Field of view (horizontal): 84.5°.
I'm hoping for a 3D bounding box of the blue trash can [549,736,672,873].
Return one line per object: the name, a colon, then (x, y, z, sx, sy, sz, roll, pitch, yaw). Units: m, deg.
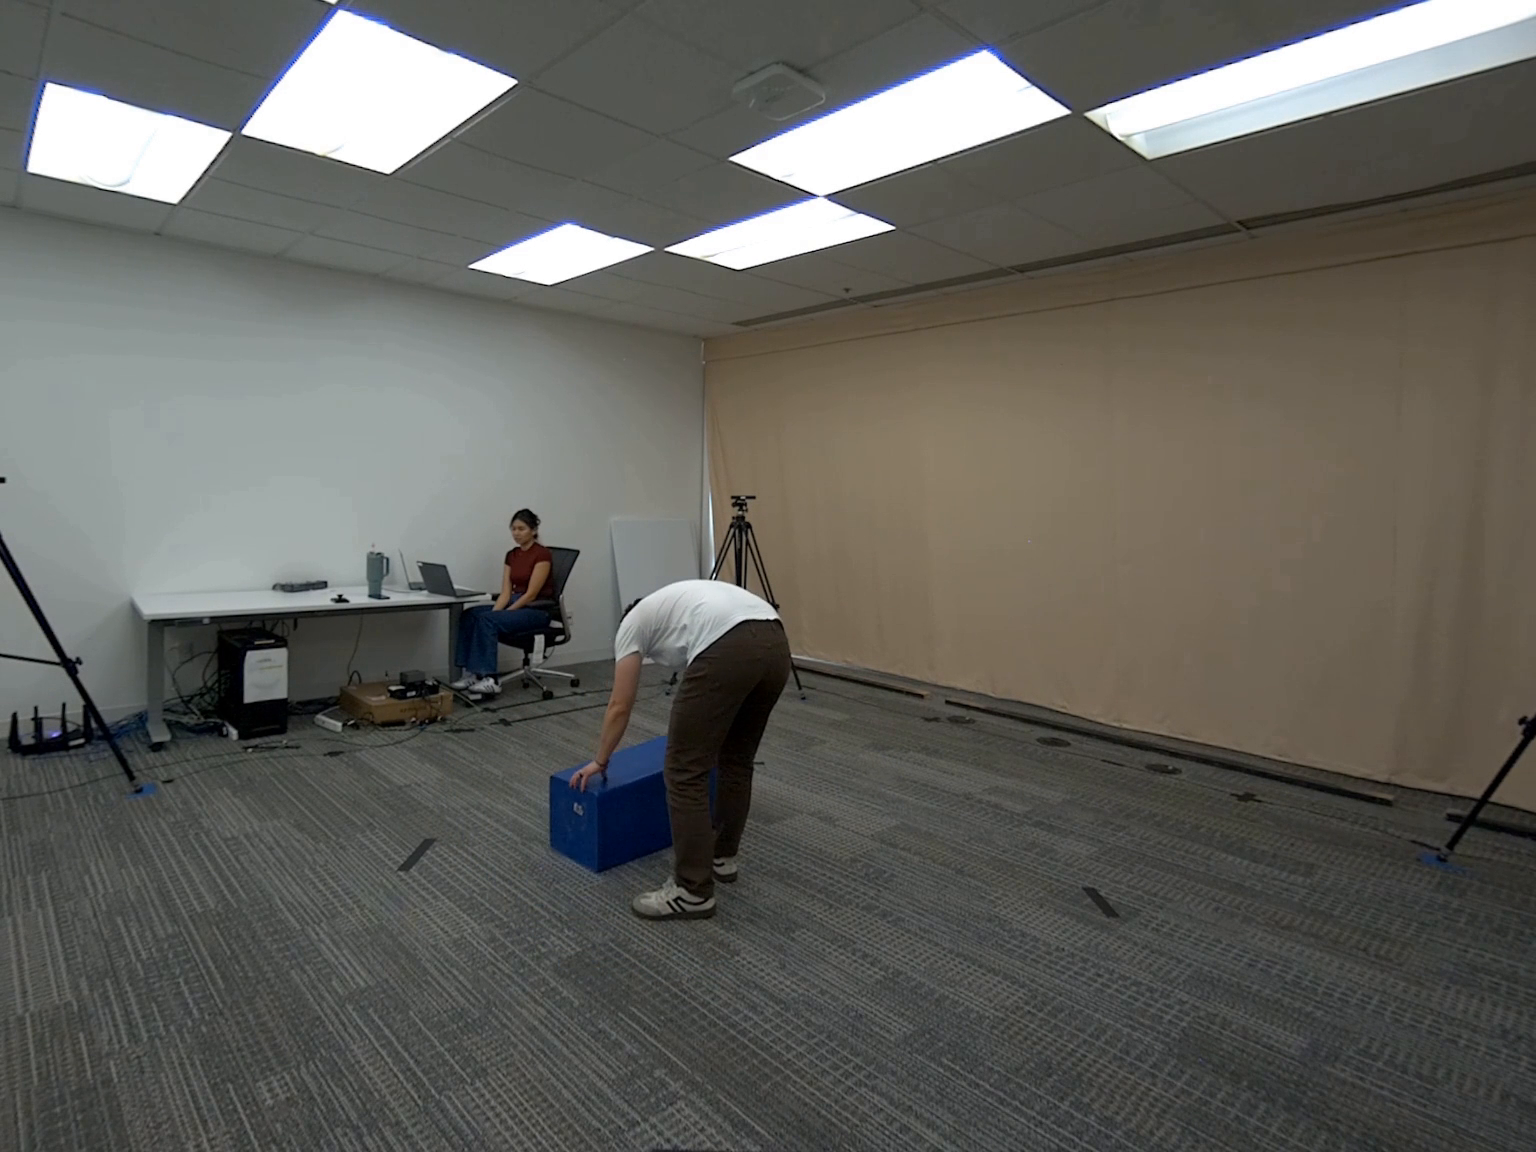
blue trash can: (-0.518, 0.897, 3.427, 0.384, 0.376, 0.698, 7, 9, 41)
